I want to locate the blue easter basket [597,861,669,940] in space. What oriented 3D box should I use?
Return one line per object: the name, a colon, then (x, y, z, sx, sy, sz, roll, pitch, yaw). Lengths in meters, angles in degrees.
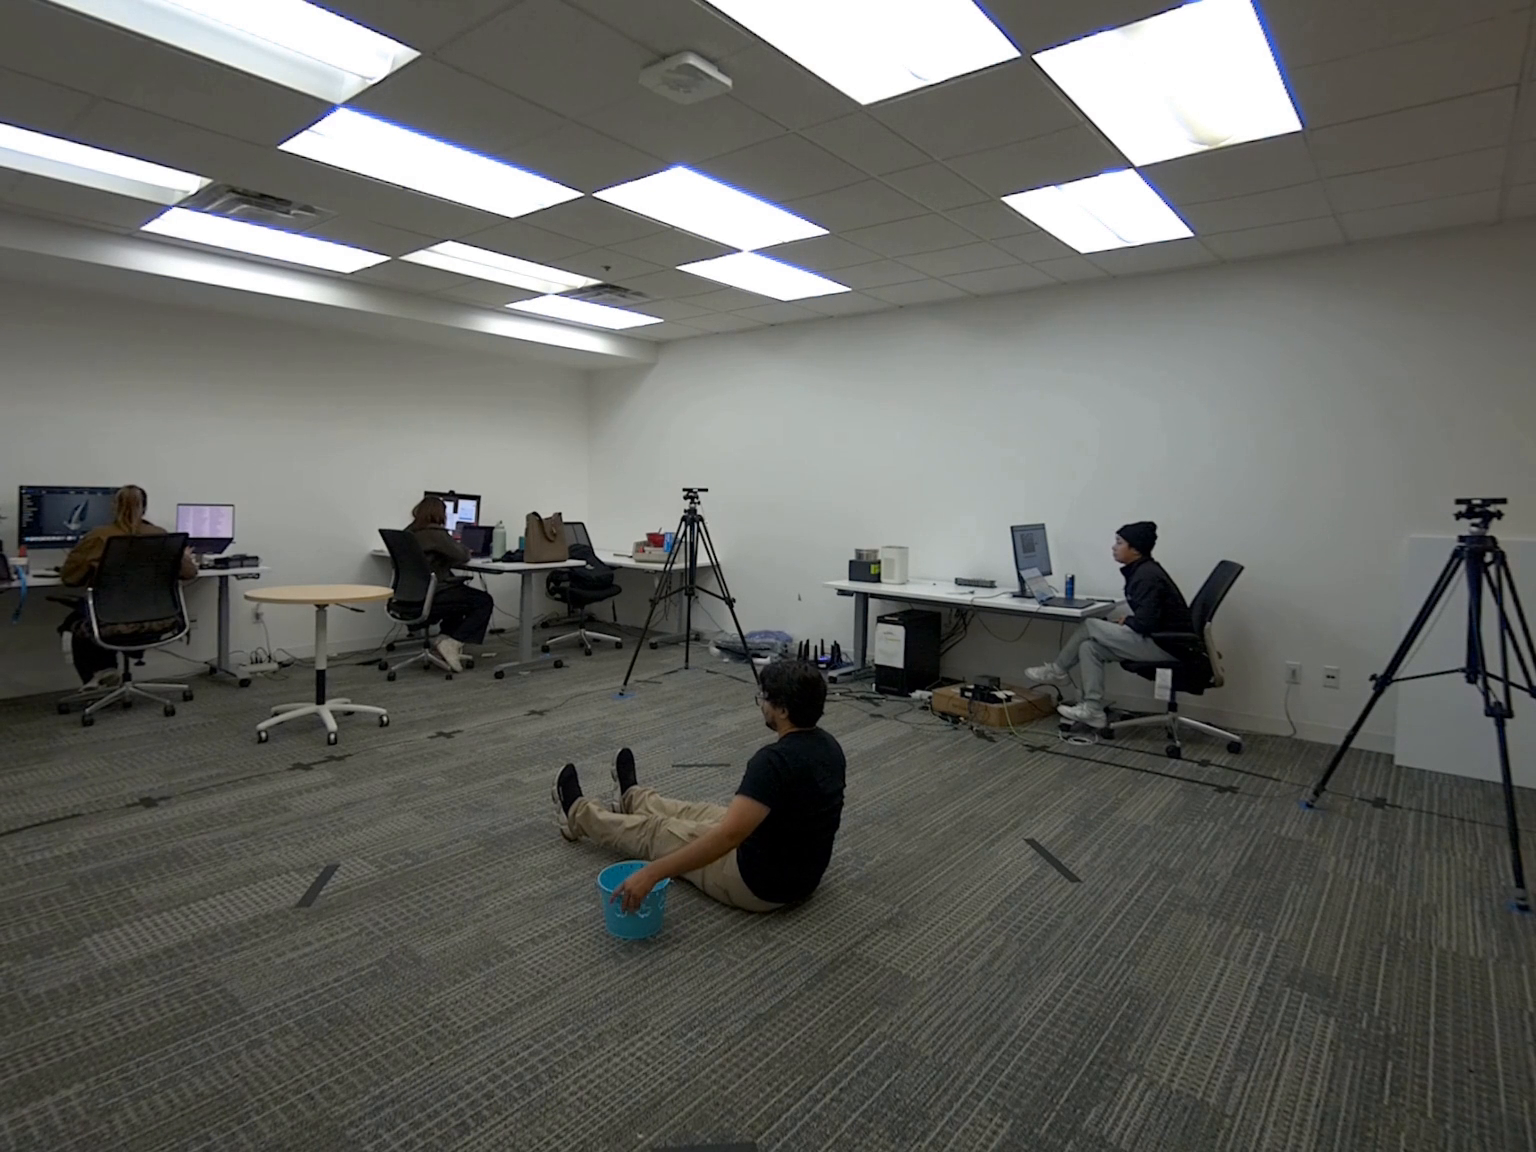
blue easter basket: (-0.434, 1.026, 2.705, 0.243, 0.155, 0.245, 0, 5, -2)
